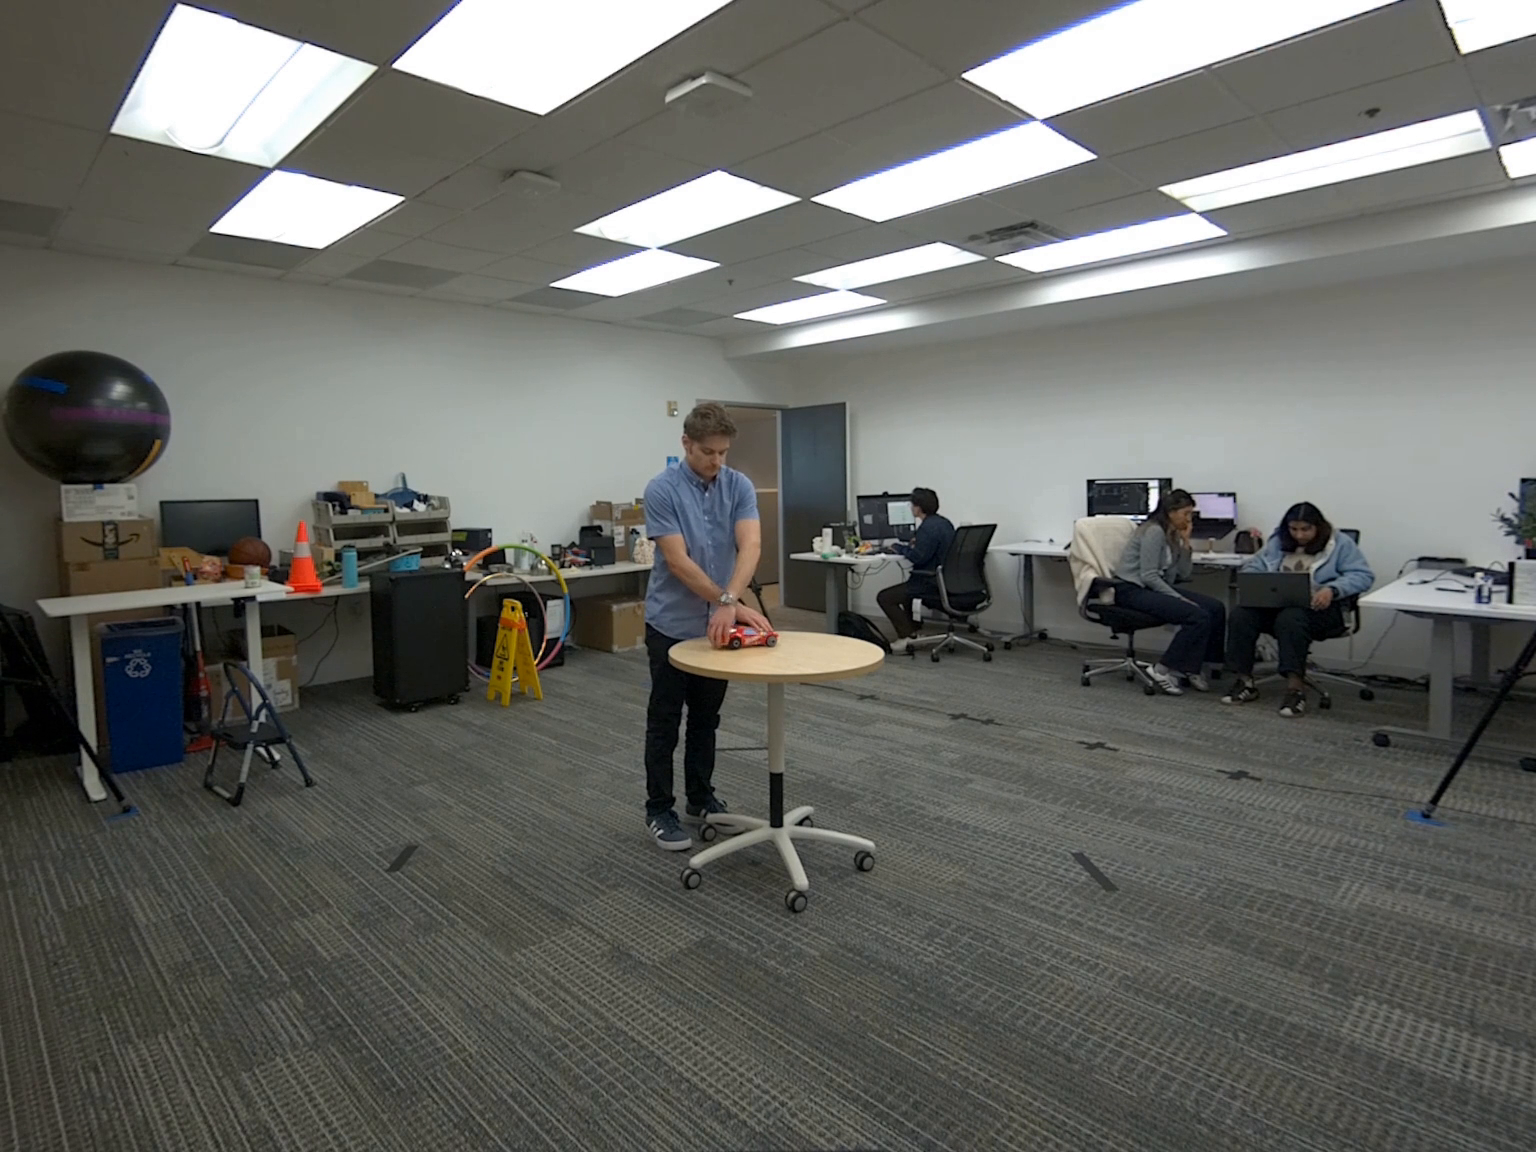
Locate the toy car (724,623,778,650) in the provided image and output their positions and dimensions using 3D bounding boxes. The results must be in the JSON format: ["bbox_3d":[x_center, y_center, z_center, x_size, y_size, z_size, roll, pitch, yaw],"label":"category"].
[{"bbox_3d":[-0.088,0.228,3.125,0.248,0.083,0.133,9,0,-24],"label":"toy car"}]
